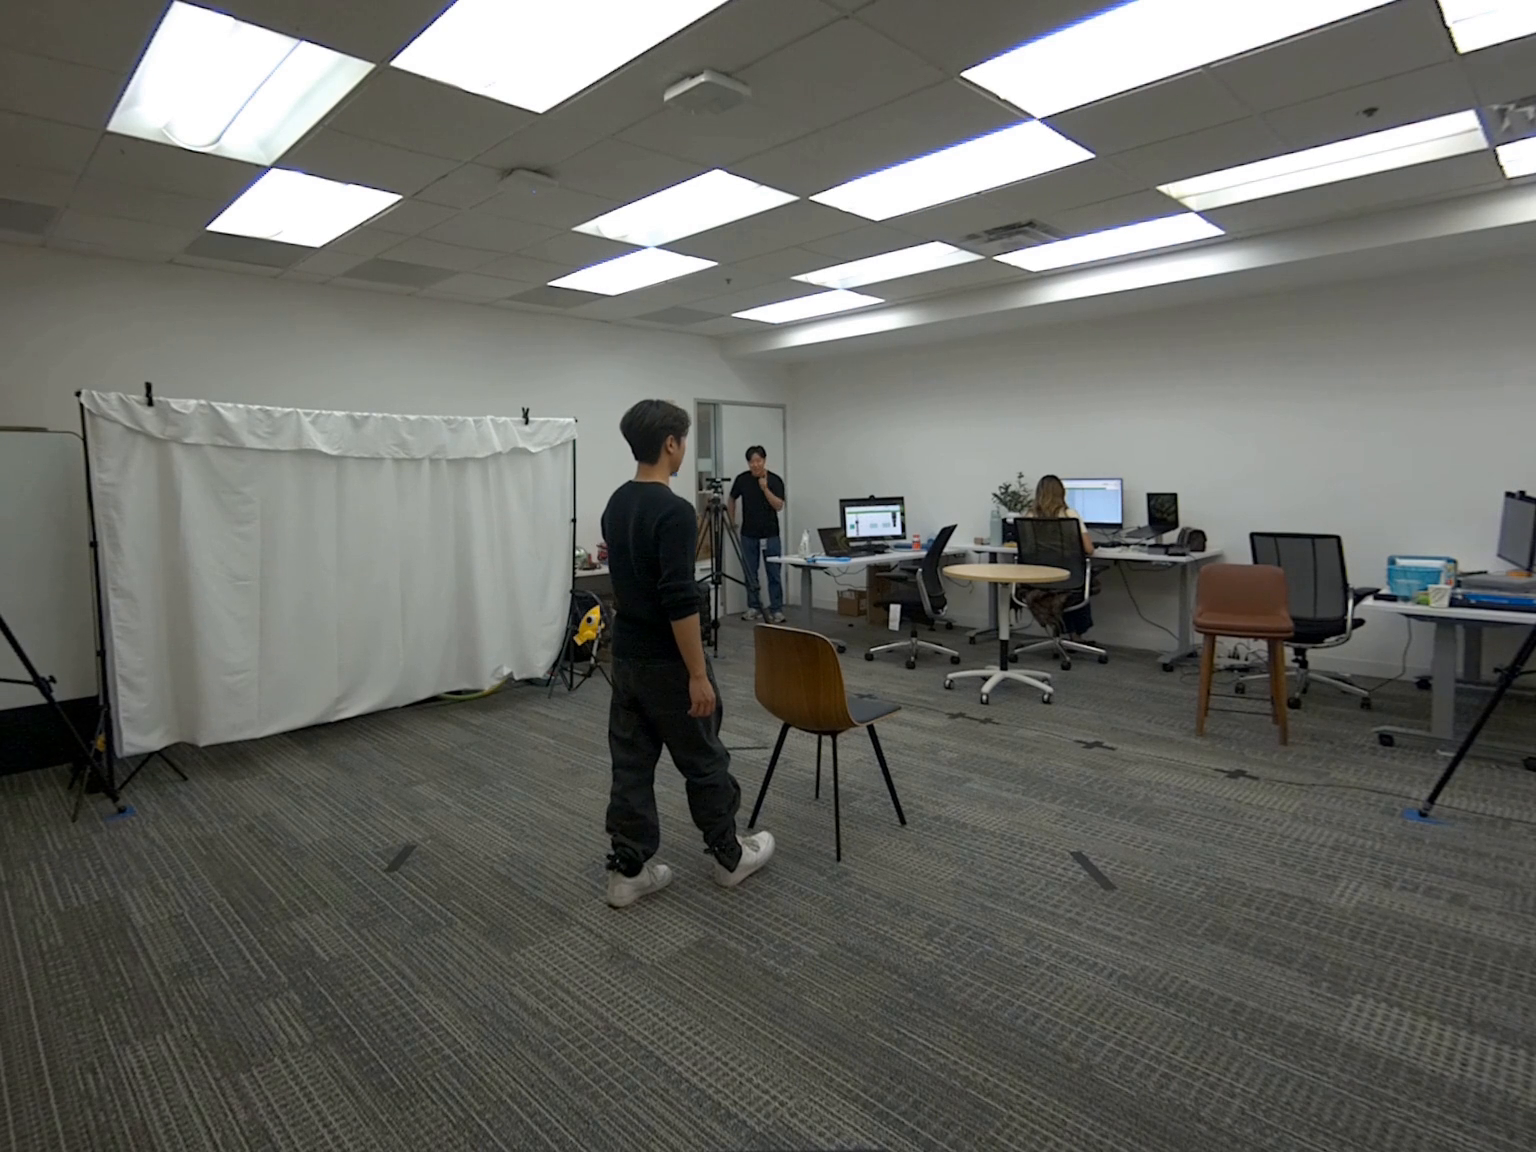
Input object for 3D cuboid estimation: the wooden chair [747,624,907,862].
[{"bbox_3d":[0.236,0.579,3.392,0.493,0.871,0.511,3,10,43],"label":"wooden chair"}]
